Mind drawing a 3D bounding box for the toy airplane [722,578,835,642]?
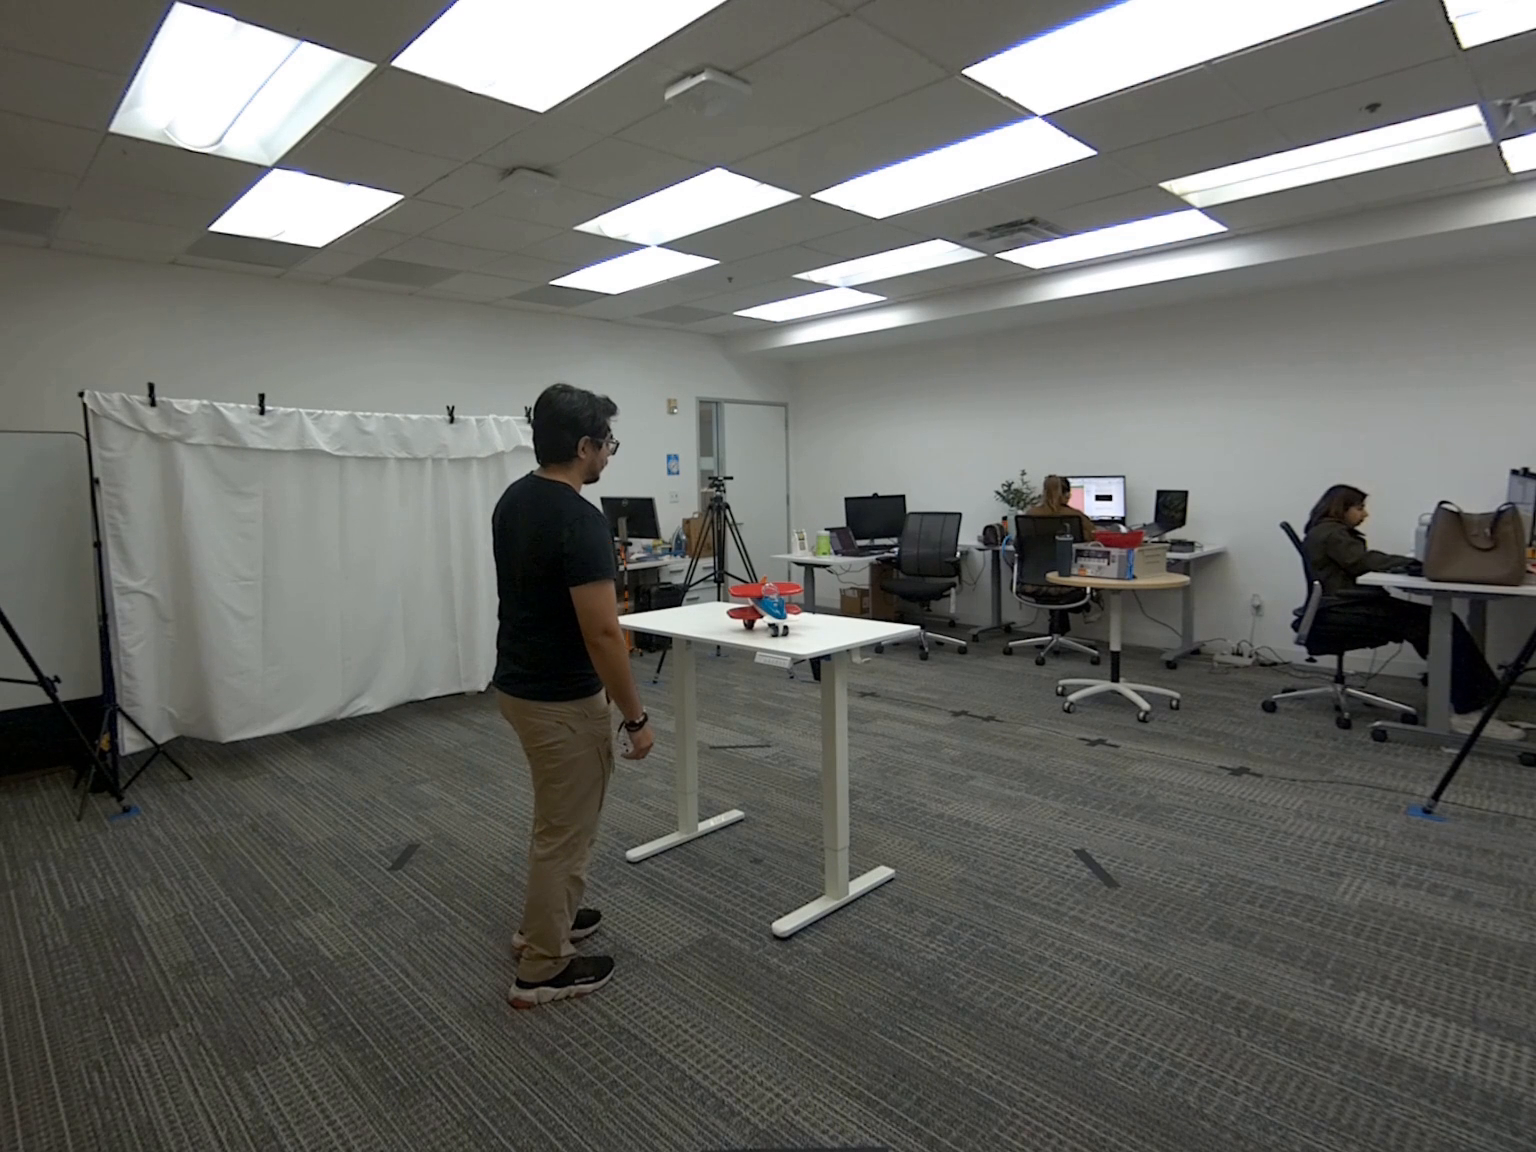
[{"bbox_3d":[0.033,0.104,2.819,0.267,0.156,0.245,3,8,43],"label":"toy airplane"}]
